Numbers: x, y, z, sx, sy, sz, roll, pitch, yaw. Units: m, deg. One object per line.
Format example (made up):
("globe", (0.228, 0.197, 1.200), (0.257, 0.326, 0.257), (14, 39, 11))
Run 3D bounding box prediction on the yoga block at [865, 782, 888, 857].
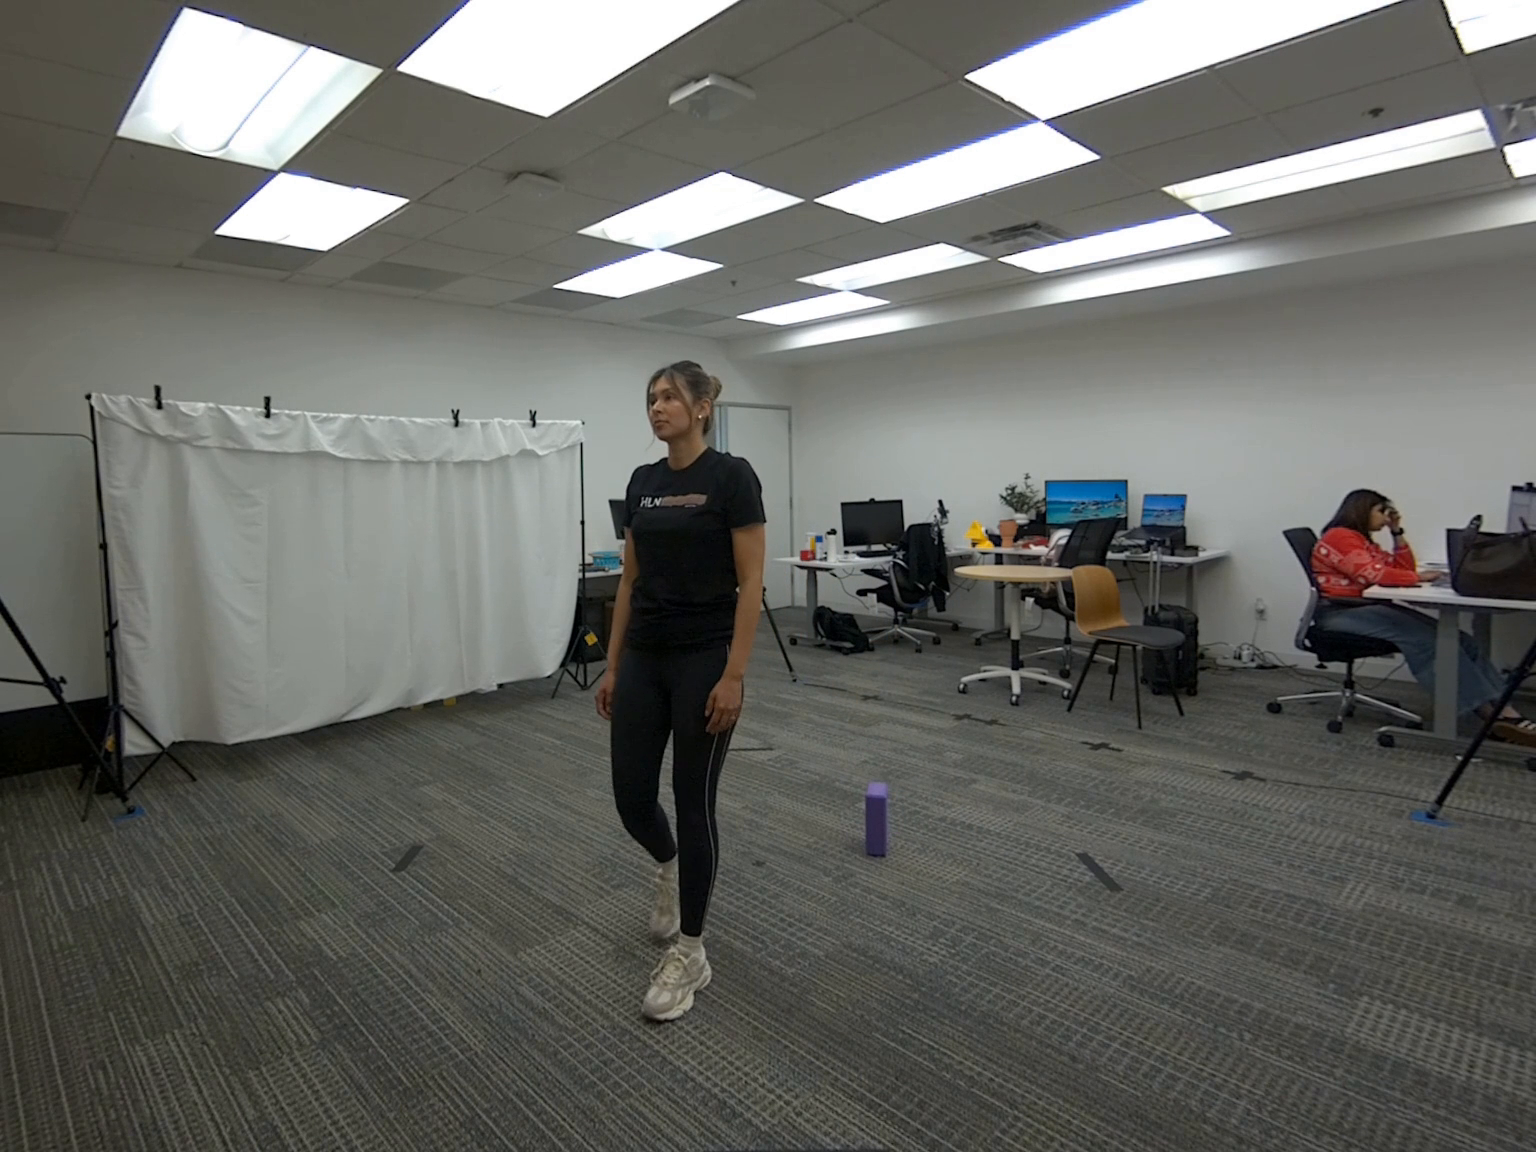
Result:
("yoga block", (0.413, 0.914, 3.211), (0.077, 0.229, 0.148), (-1, 3, 10))
